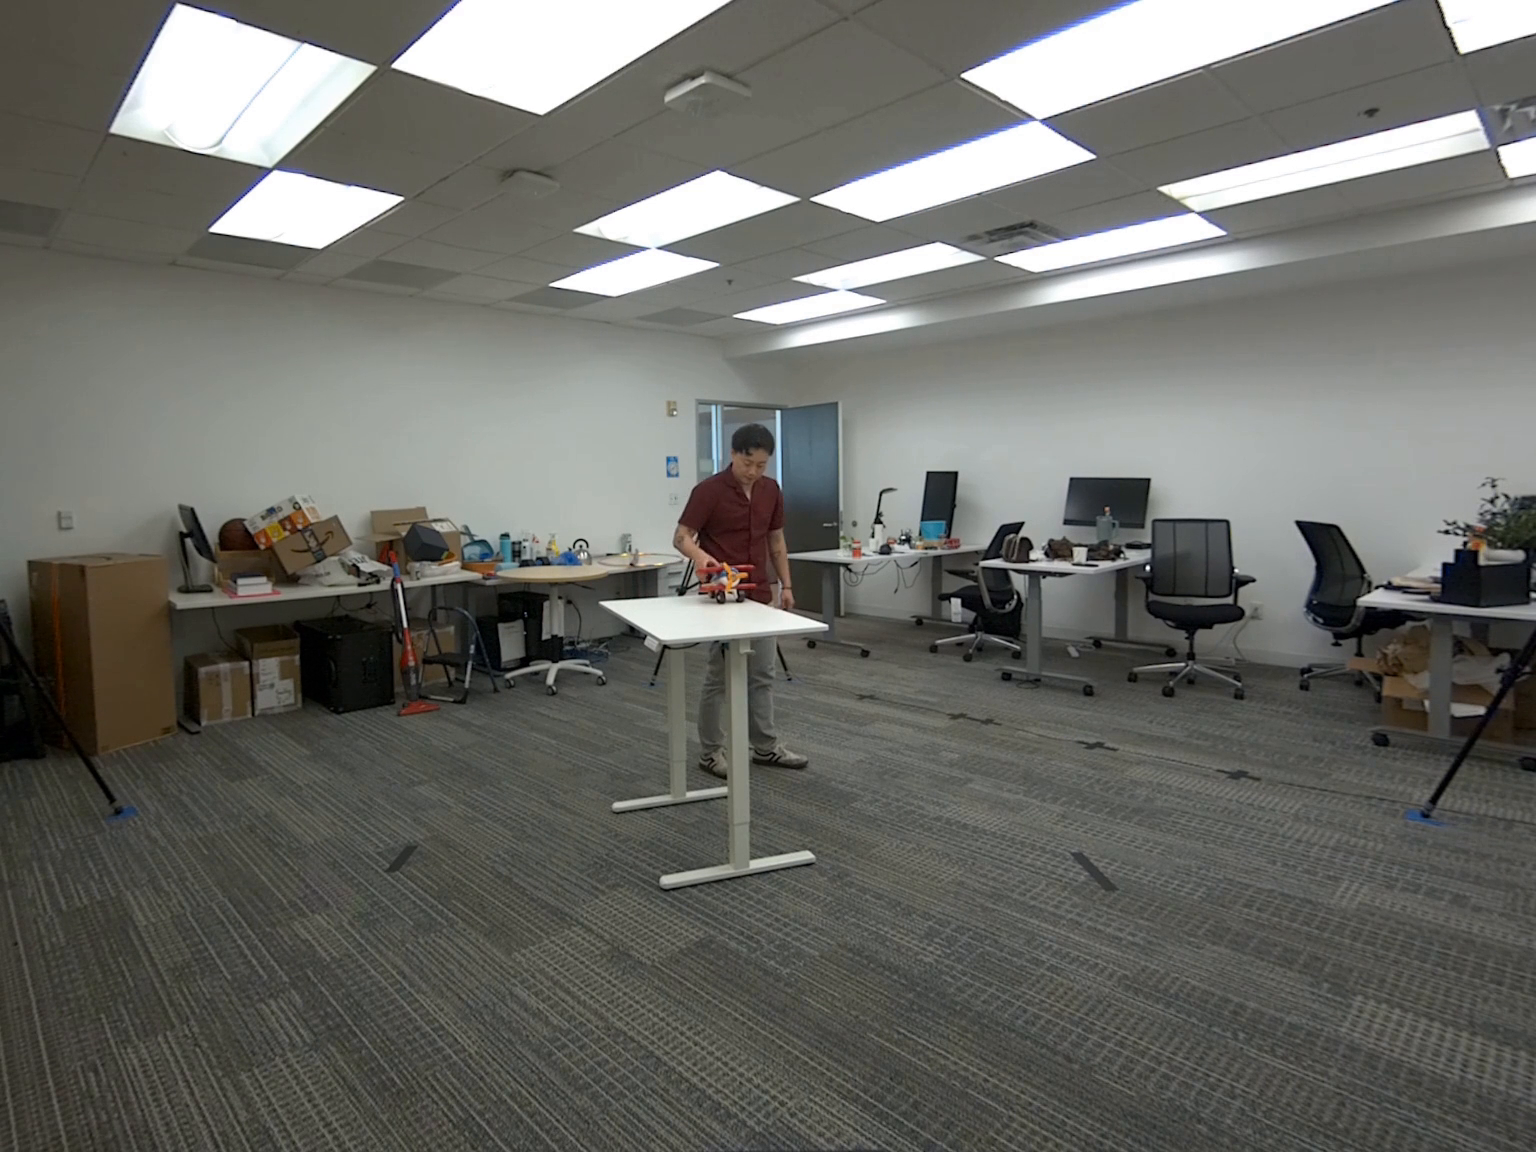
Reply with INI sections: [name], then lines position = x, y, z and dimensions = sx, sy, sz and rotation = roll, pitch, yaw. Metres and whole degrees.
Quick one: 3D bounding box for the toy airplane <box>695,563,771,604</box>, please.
[toy airplane]
position = -0.204, 0.032, 3.640
dimensions = 0.267, 0.156, 0.244
rotation = 4, 6, 42
